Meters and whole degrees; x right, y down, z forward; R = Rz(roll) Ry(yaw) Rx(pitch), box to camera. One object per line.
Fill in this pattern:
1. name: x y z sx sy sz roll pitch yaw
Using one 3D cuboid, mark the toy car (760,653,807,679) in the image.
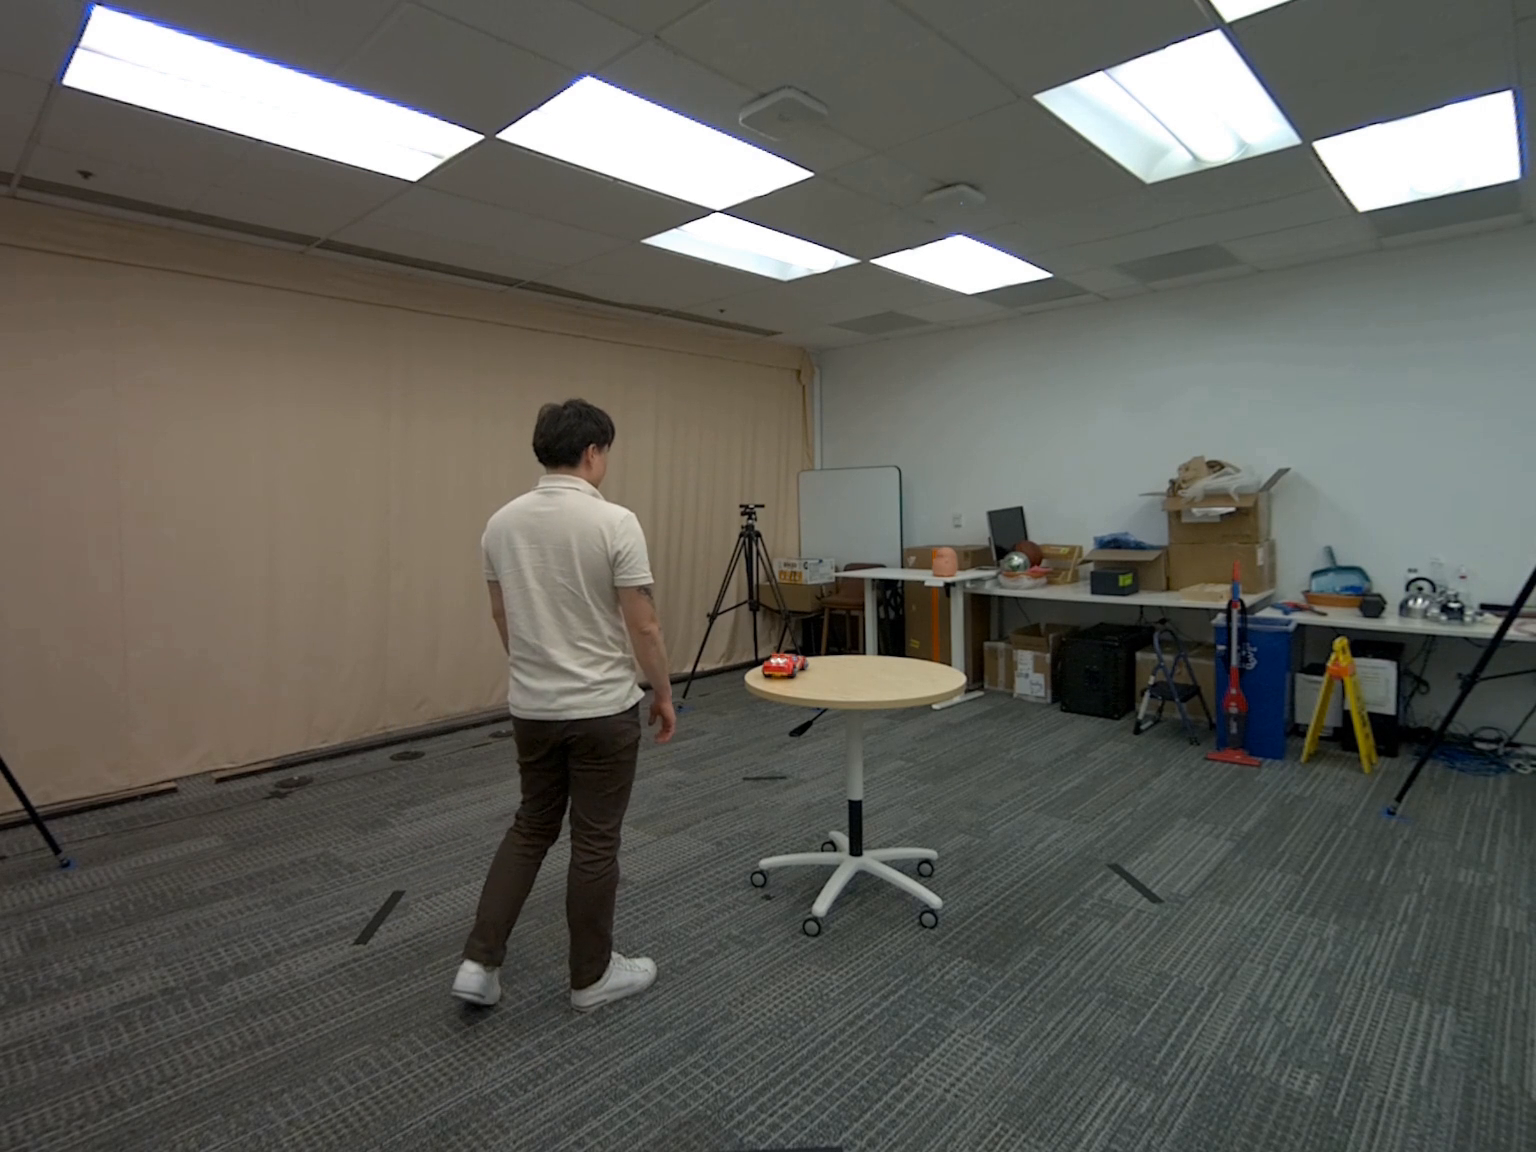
1. toy car: 0.058 0.322 3.007 0.133 0.083 0.248 1 -7 20
